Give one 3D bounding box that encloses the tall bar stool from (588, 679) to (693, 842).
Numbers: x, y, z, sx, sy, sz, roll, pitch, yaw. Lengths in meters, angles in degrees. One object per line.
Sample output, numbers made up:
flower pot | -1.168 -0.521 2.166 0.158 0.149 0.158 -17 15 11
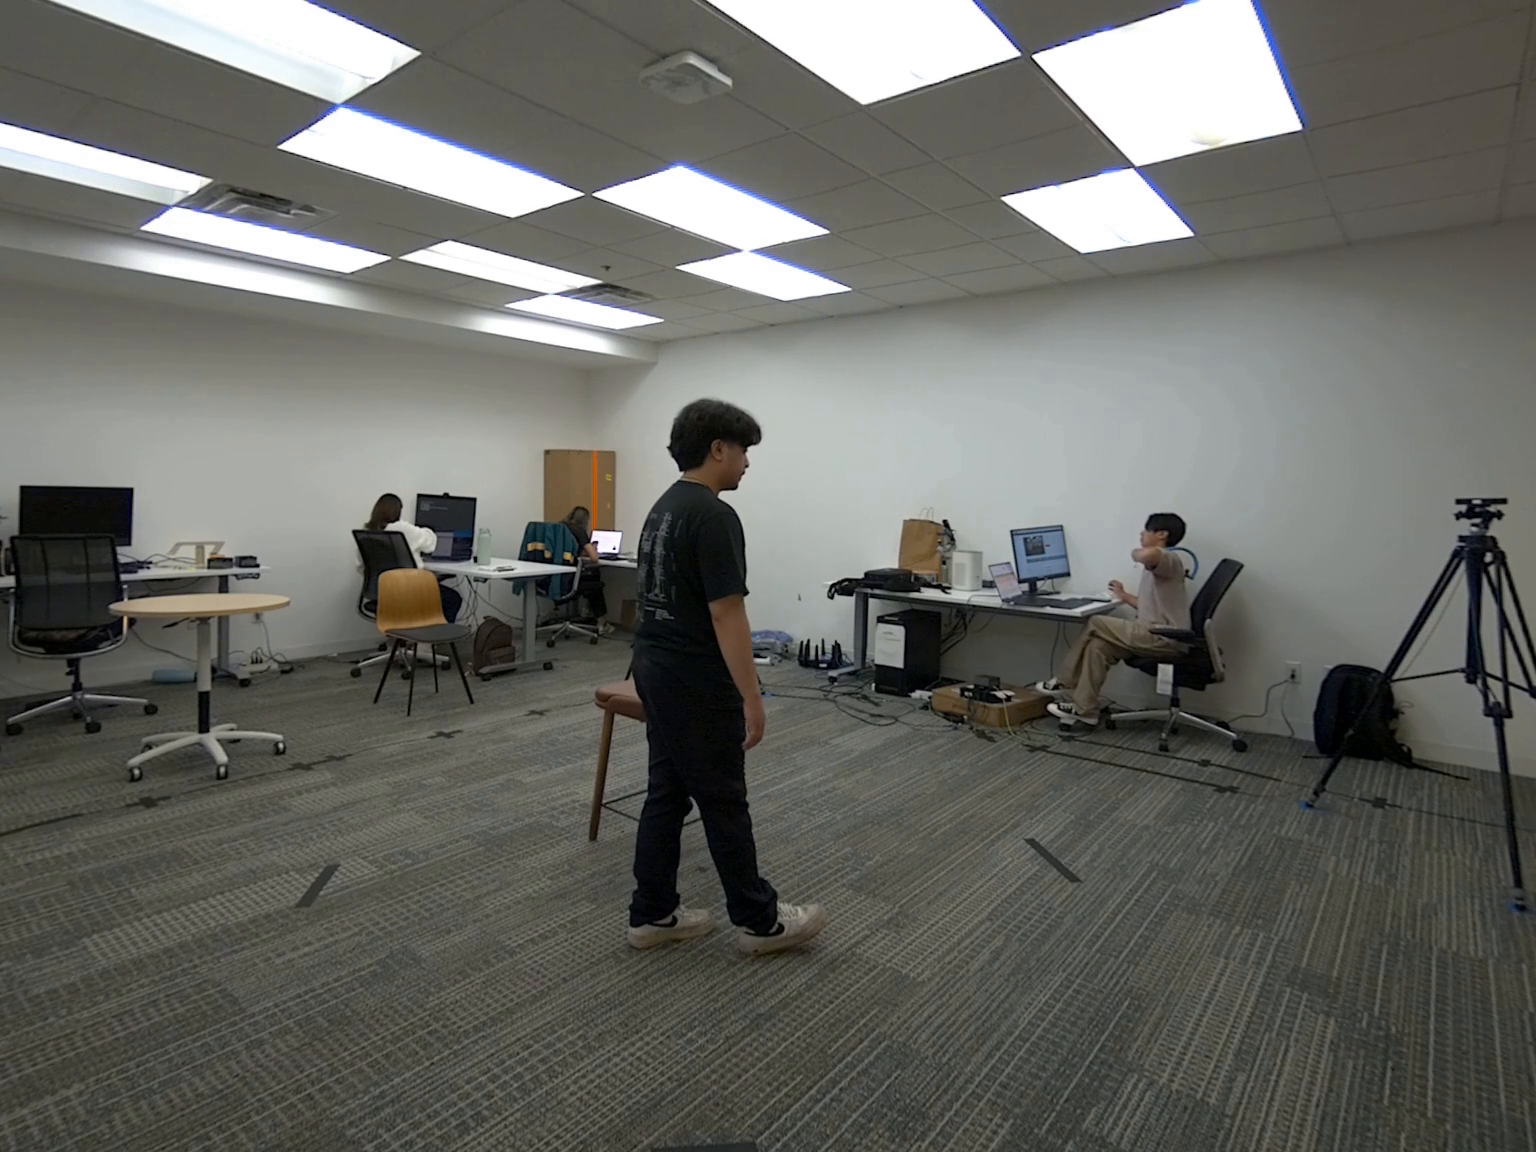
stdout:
tall bar stool | -0.406 0.608 3.314 0.484 0.886 0.443 6 6 41
